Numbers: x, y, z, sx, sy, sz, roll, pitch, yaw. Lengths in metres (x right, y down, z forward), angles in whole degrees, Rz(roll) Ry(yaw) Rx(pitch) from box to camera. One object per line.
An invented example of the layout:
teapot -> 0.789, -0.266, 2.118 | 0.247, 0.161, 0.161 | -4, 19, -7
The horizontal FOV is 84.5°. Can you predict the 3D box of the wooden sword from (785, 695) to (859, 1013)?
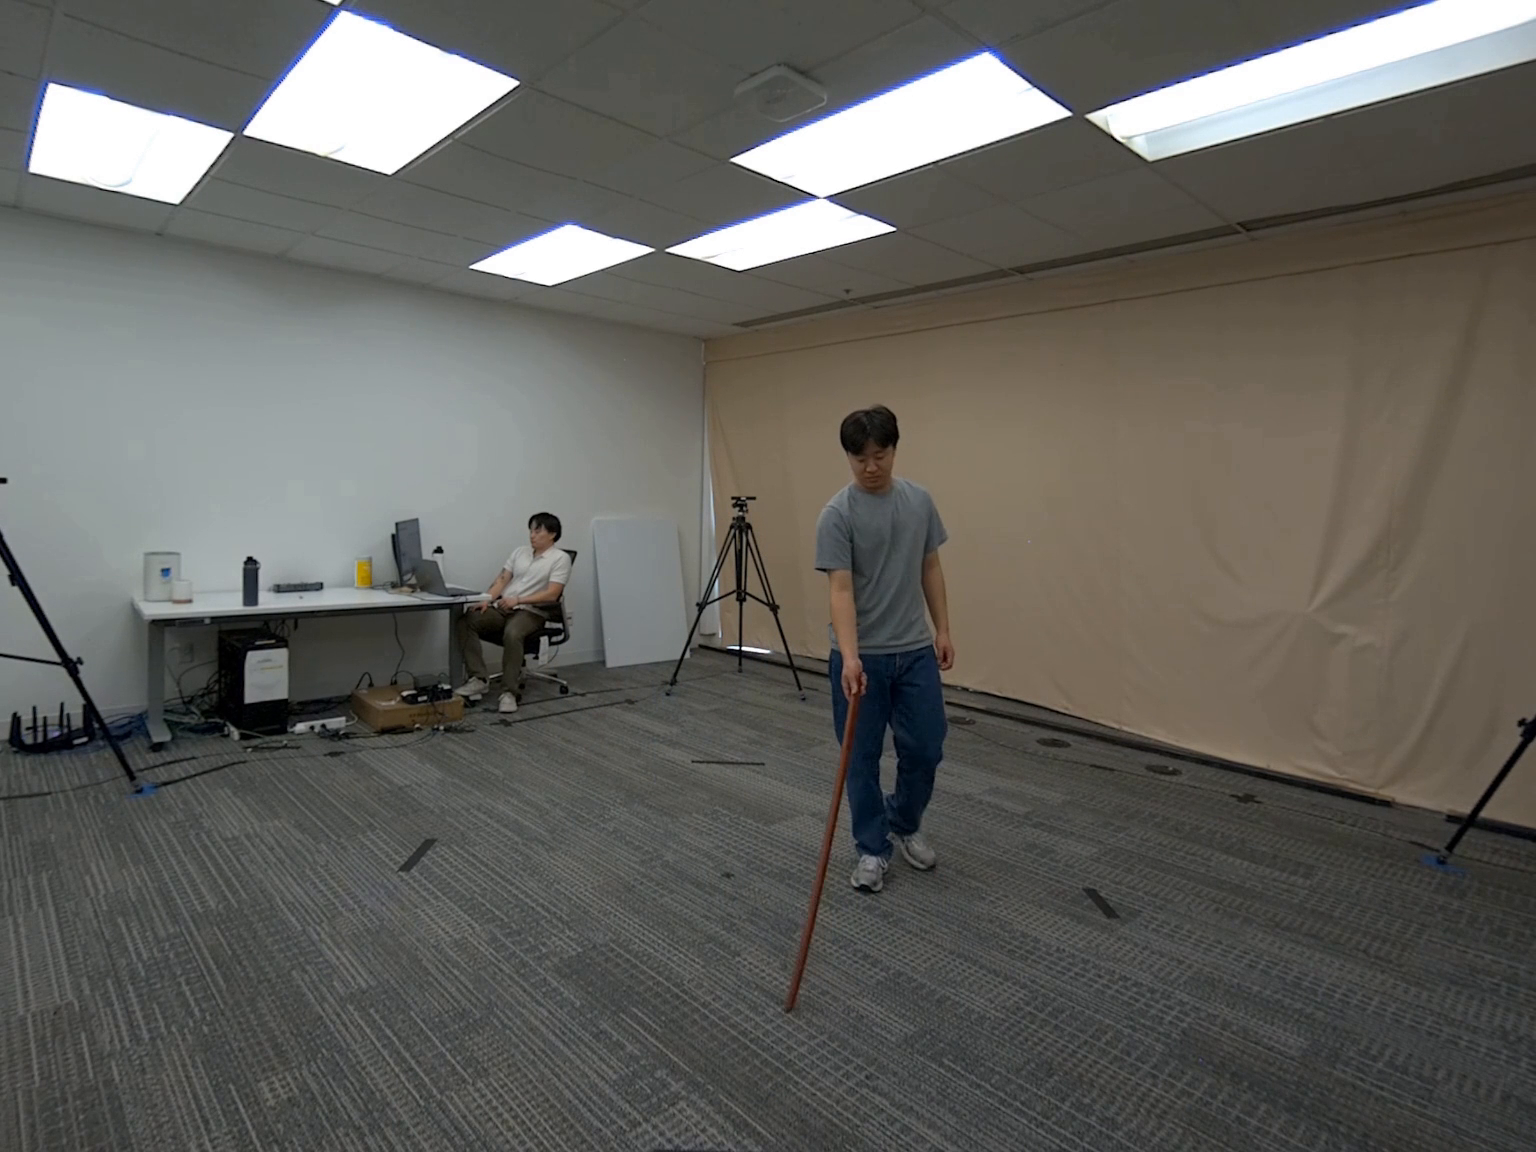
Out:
wooden sword -> 0.189, 0.774, 2.550 | 0.023, 1.036, 0.052 | 35, -34, -28
